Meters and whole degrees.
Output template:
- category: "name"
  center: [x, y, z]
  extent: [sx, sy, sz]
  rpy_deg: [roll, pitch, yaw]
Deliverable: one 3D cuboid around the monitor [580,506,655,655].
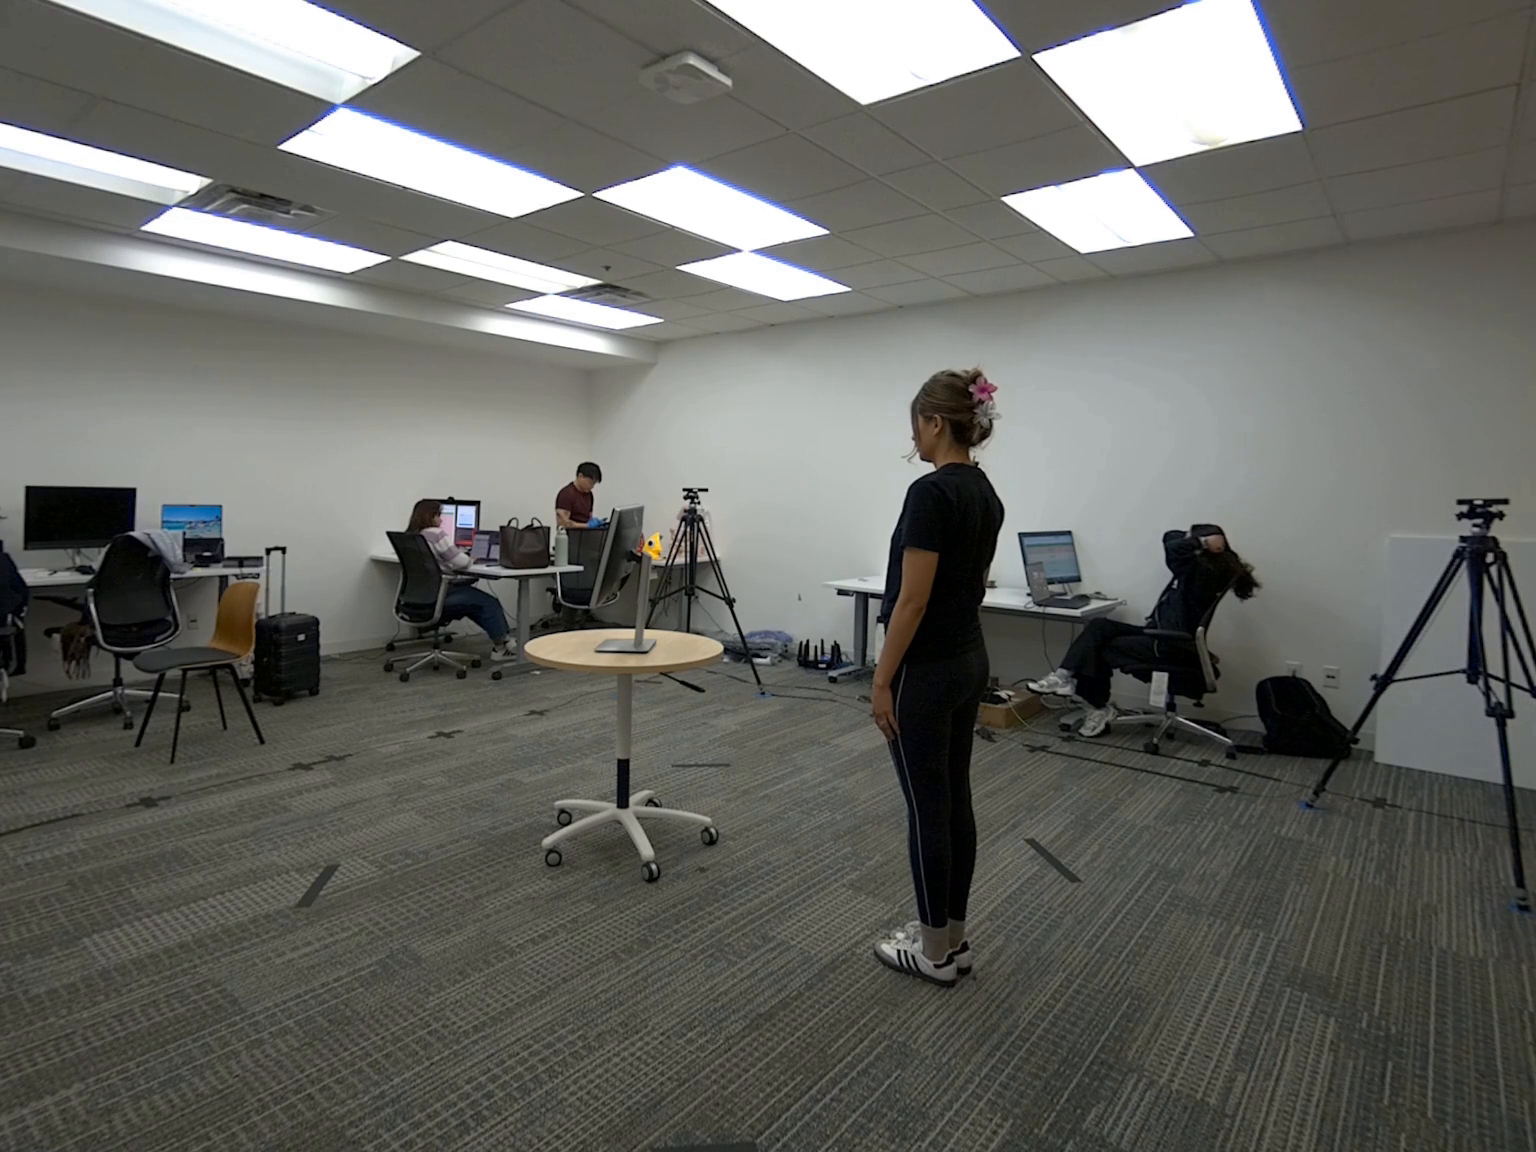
- category: "monitor"
  center: [-0.546, 0.008, 3.246]
  extent: [0.187, 0.520, 0.541]
  rpy_deg: [1, 5, -1]
